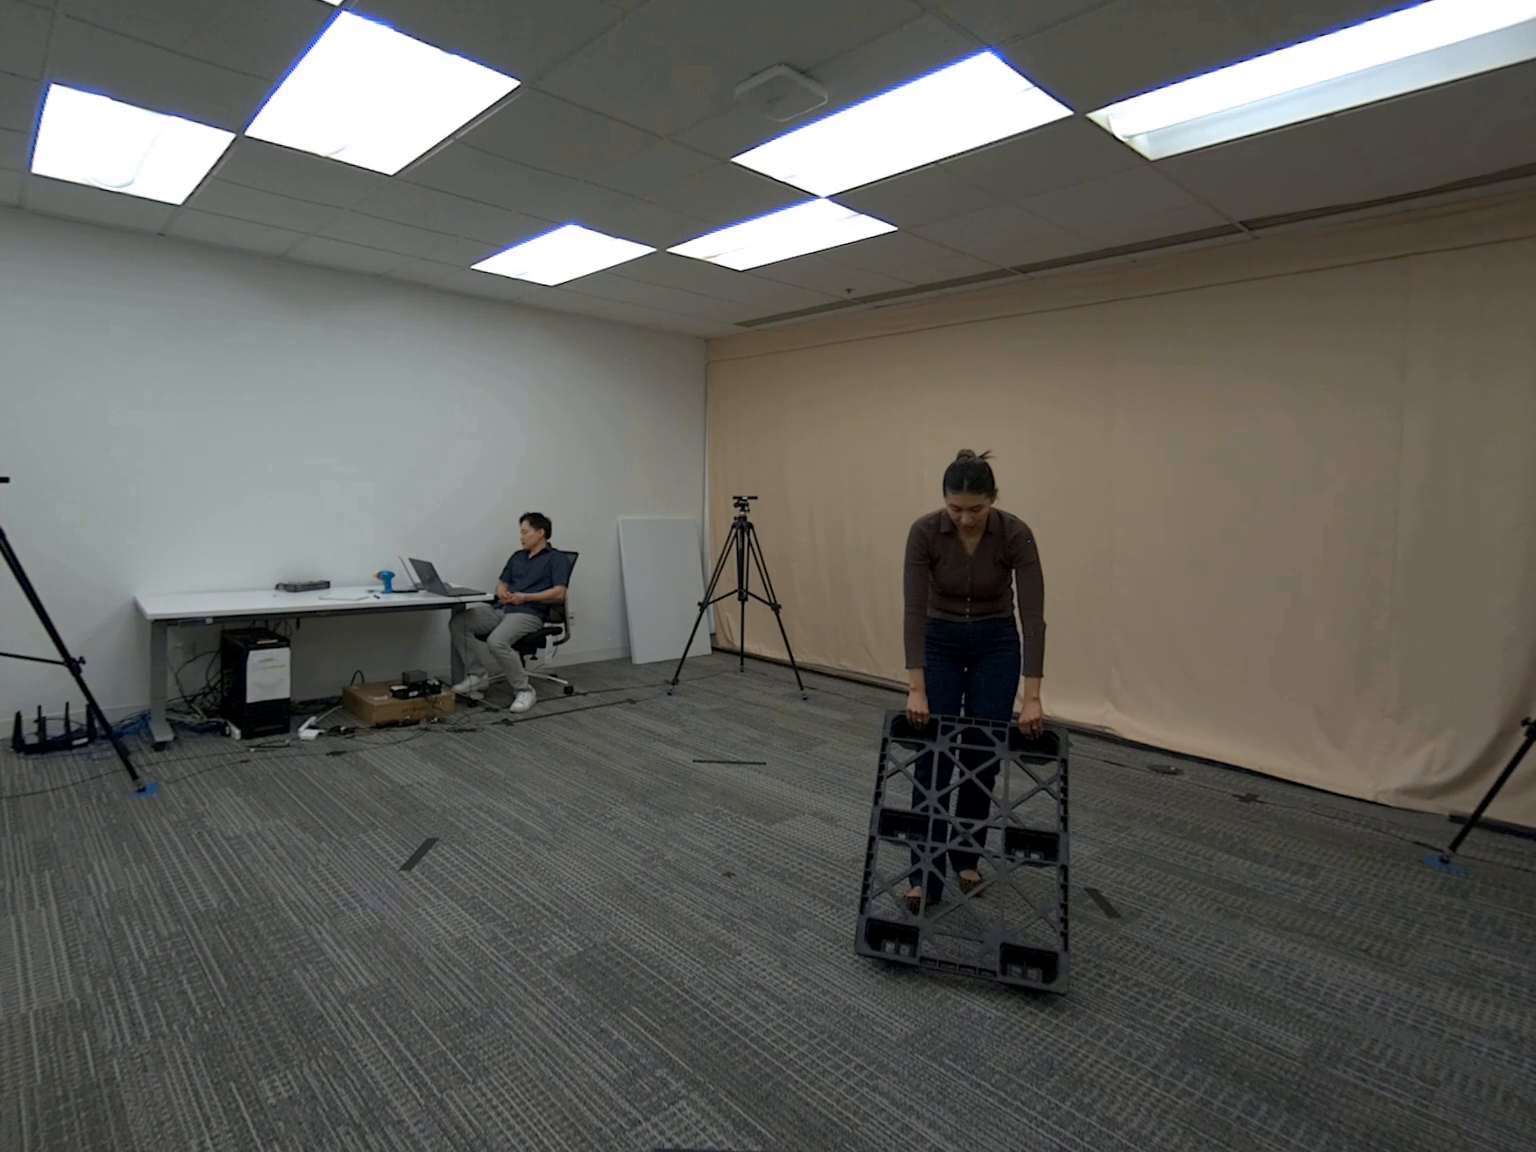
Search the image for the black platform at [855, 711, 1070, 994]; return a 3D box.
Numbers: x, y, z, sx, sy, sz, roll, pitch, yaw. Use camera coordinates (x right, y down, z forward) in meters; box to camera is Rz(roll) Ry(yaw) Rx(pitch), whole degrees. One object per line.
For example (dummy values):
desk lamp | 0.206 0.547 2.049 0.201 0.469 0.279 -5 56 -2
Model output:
black platform | 0.626 0.837 2.667 0.614 0.817 0.139 3 -35 18
